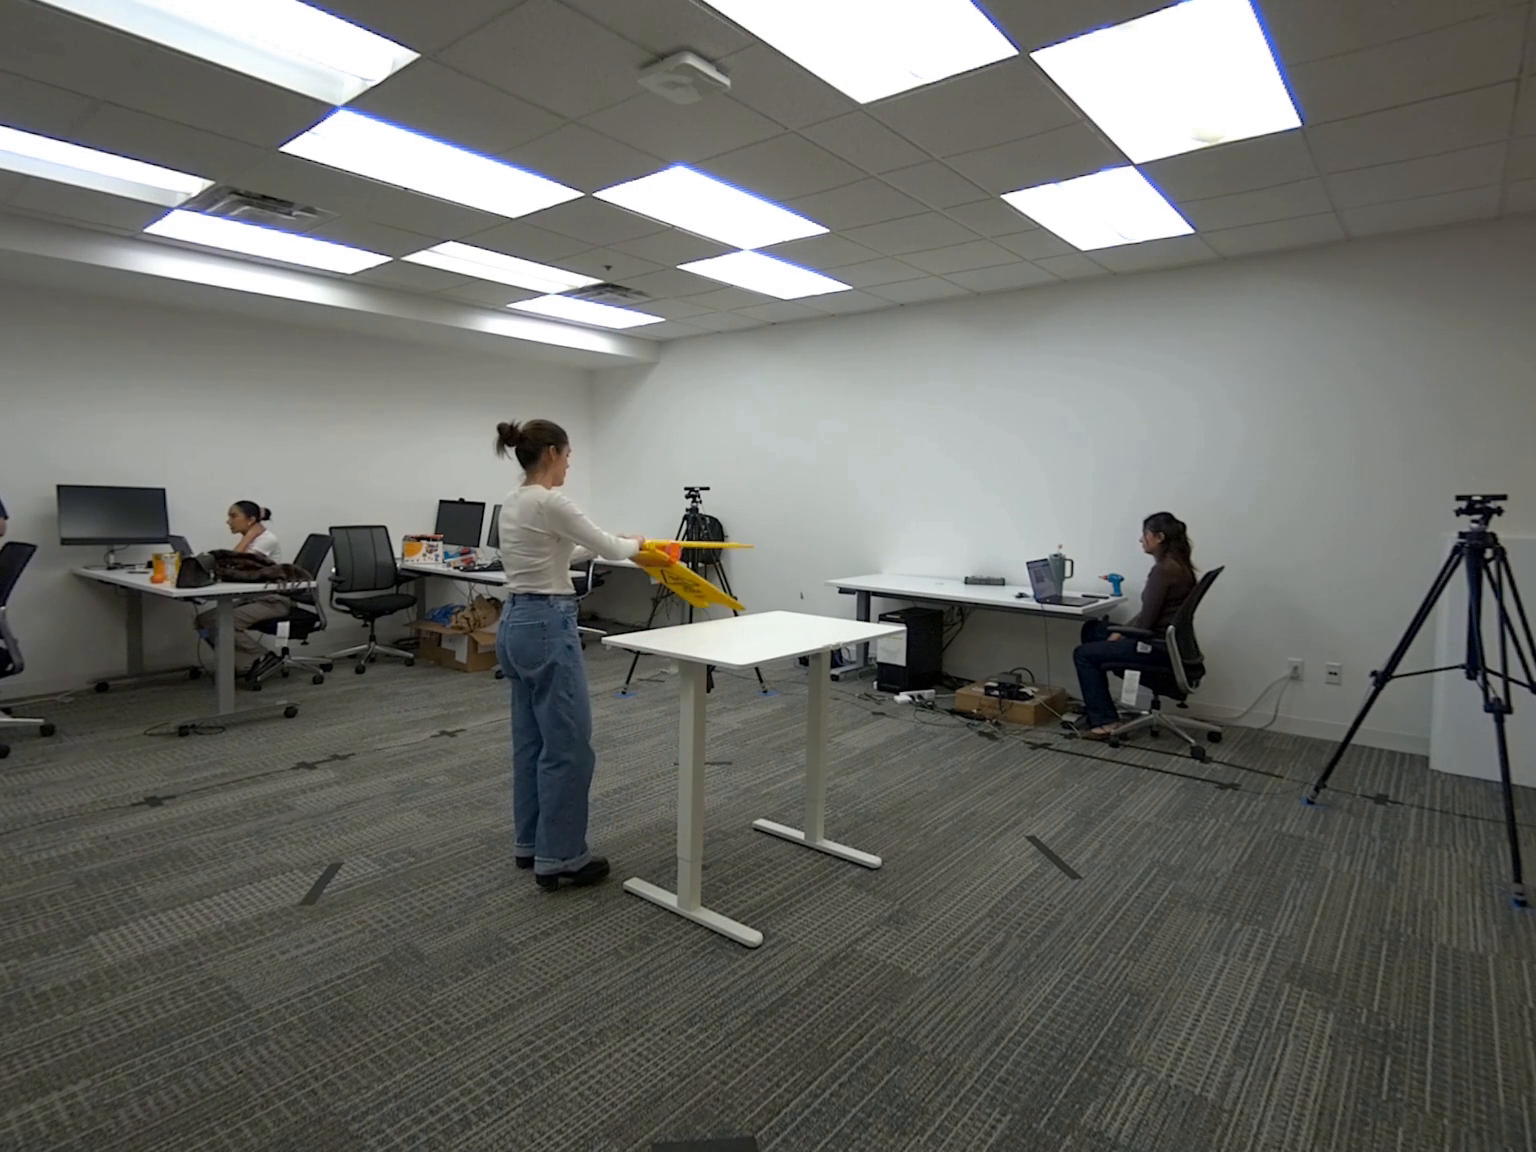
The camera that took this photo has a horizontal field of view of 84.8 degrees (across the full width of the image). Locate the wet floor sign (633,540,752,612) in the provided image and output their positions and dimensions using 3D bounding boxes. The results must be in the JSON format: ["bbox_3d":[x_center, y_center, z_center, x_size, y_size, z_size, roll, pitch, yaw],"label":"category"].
[{"bbox_3d":[-0.390,-0.043,3.530,0.291,0.292,0.621,0,-13,37],"label":"wet floor sign"}]
